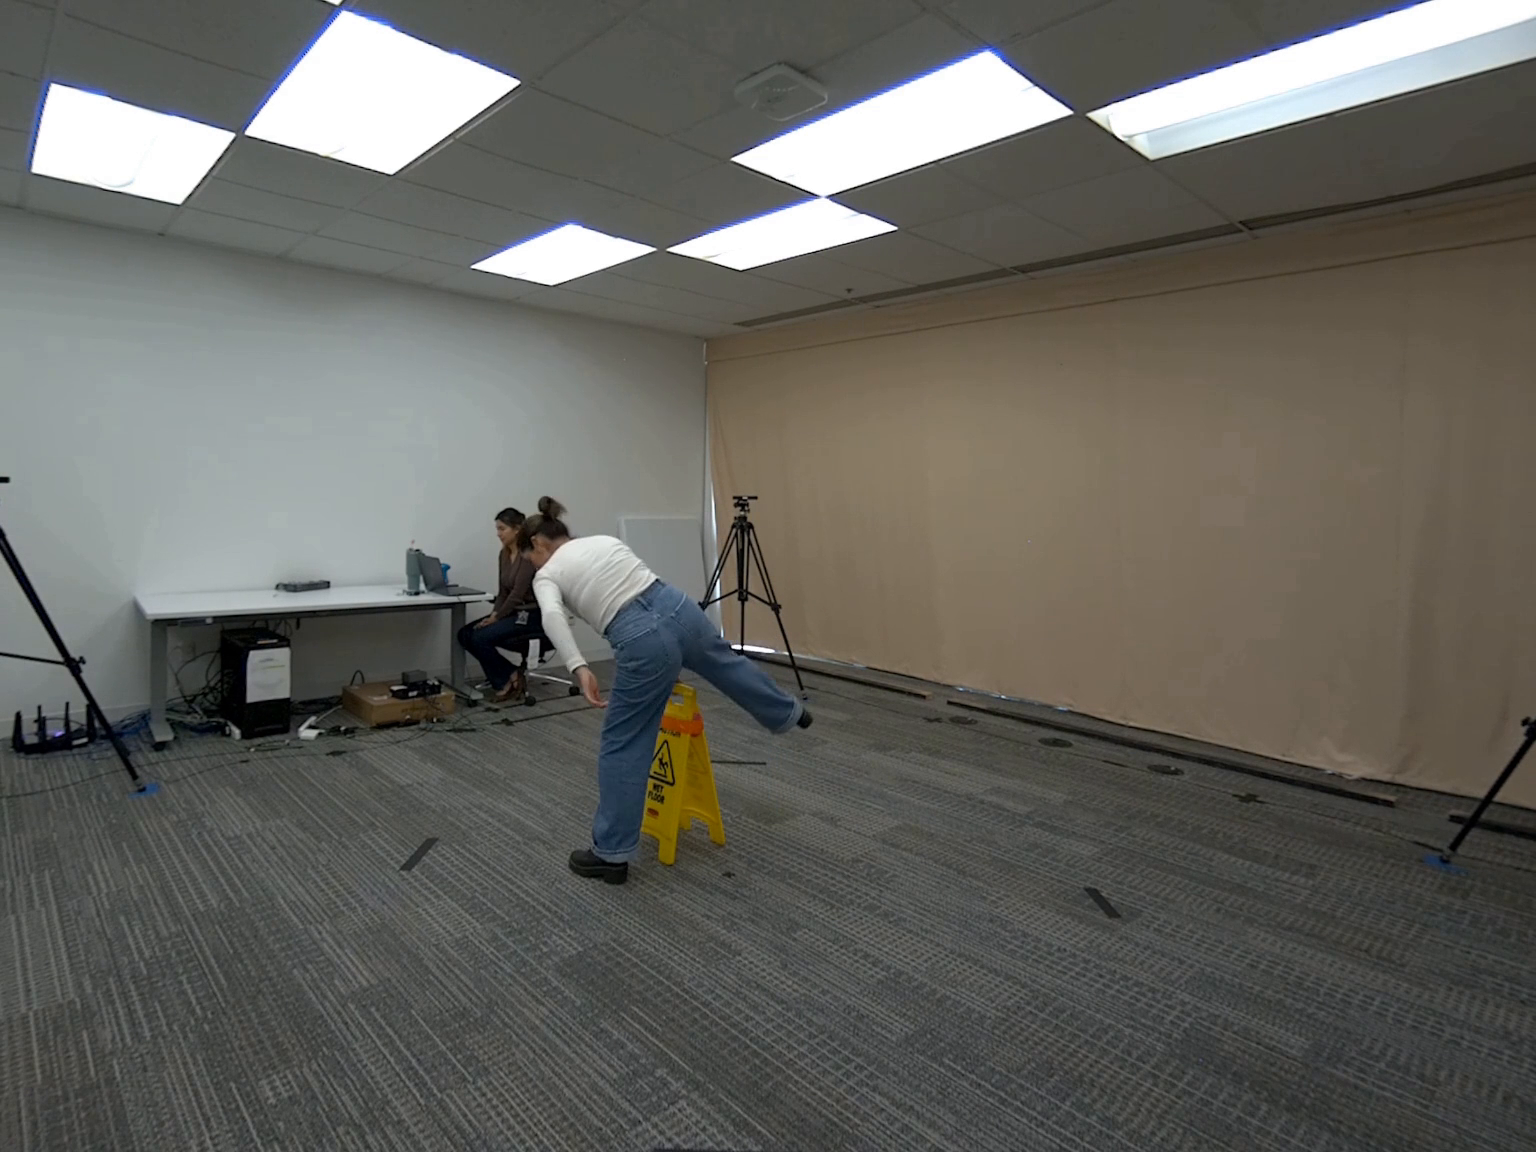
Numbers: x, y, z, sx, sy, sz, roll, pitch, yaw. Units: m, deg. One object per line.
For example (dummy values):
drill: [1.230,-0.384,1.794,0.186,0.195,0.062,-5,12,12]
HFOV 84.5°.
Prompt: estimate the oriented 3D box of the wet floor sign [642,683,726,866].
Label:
wet floor sign: [-0.368,0.754,3.356,0.289,0.645,0.283,4,4,43]
